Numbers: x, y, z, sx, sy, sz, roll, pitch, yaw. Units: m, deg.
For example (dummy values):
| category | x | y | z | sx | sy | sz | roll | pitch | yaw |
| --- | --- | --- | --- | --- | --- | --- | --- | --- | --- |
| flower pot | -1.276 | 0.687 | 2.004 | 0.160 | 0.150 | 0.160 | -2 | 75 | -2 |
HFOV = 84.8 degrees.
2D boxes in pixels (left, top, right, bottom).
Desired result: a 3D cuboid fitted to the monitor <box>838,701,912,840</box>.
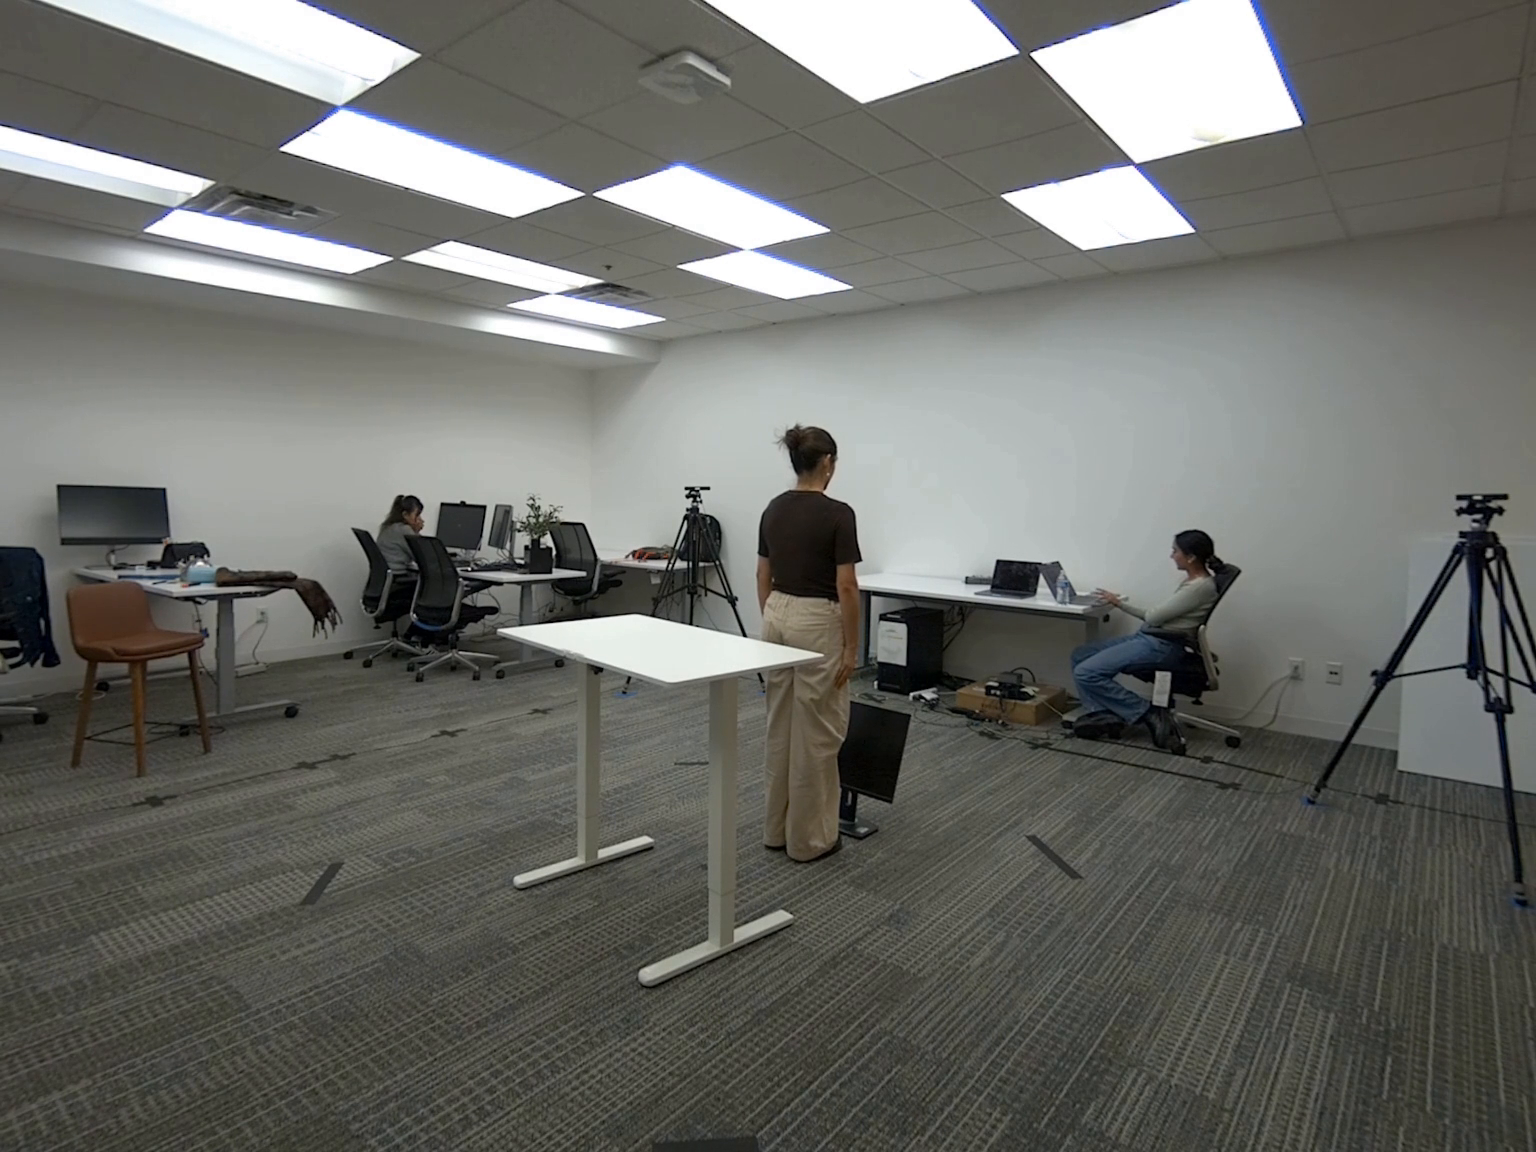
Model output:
| category | x | y | z | sx | sy | sz | roll | pitch | yaw |
| --- | --- | --- | --- | --- | --- | --- | --- | --- | --- |
| monitor | 0.325 | 0.778 | 3.537 | 0.557 | 0.523 | 0.181 | 6 | 0 | 39 |
